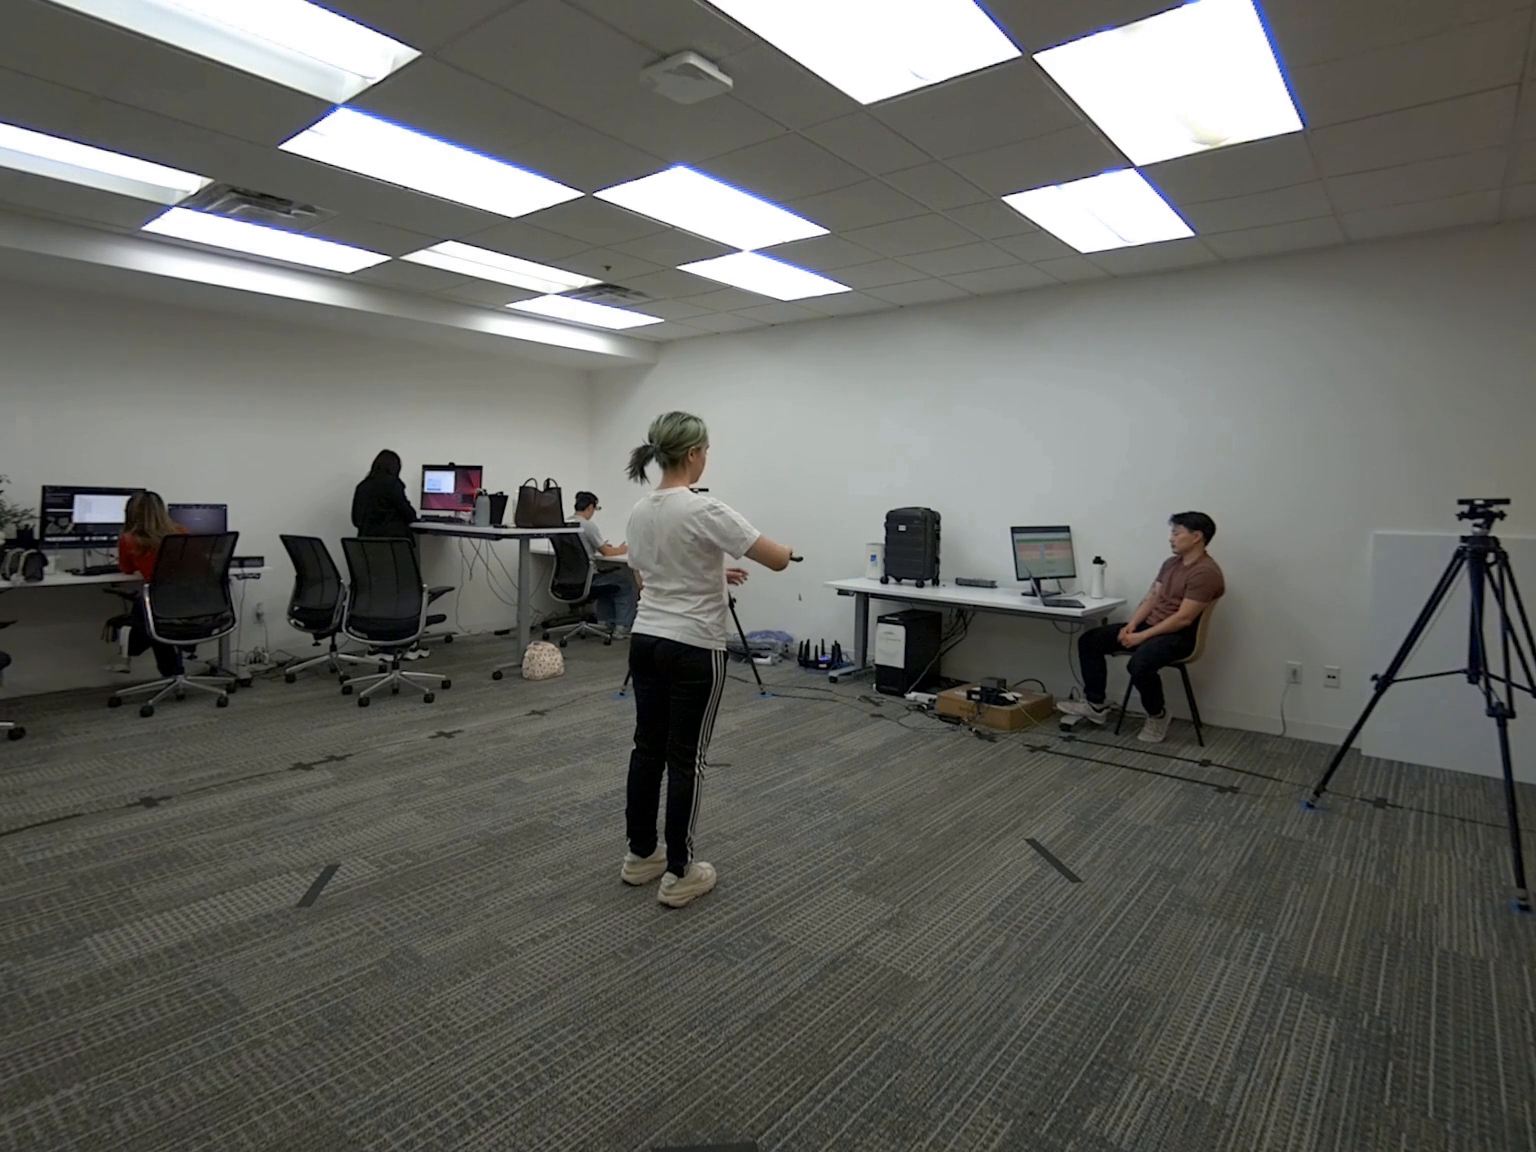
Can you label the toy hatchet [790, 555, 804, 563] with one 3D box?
[{"bbox_3d":[0.043,-0.084,3.177,0.127,0.029,0.280,-4,11,-36],"label":"toy hatchet"}]
